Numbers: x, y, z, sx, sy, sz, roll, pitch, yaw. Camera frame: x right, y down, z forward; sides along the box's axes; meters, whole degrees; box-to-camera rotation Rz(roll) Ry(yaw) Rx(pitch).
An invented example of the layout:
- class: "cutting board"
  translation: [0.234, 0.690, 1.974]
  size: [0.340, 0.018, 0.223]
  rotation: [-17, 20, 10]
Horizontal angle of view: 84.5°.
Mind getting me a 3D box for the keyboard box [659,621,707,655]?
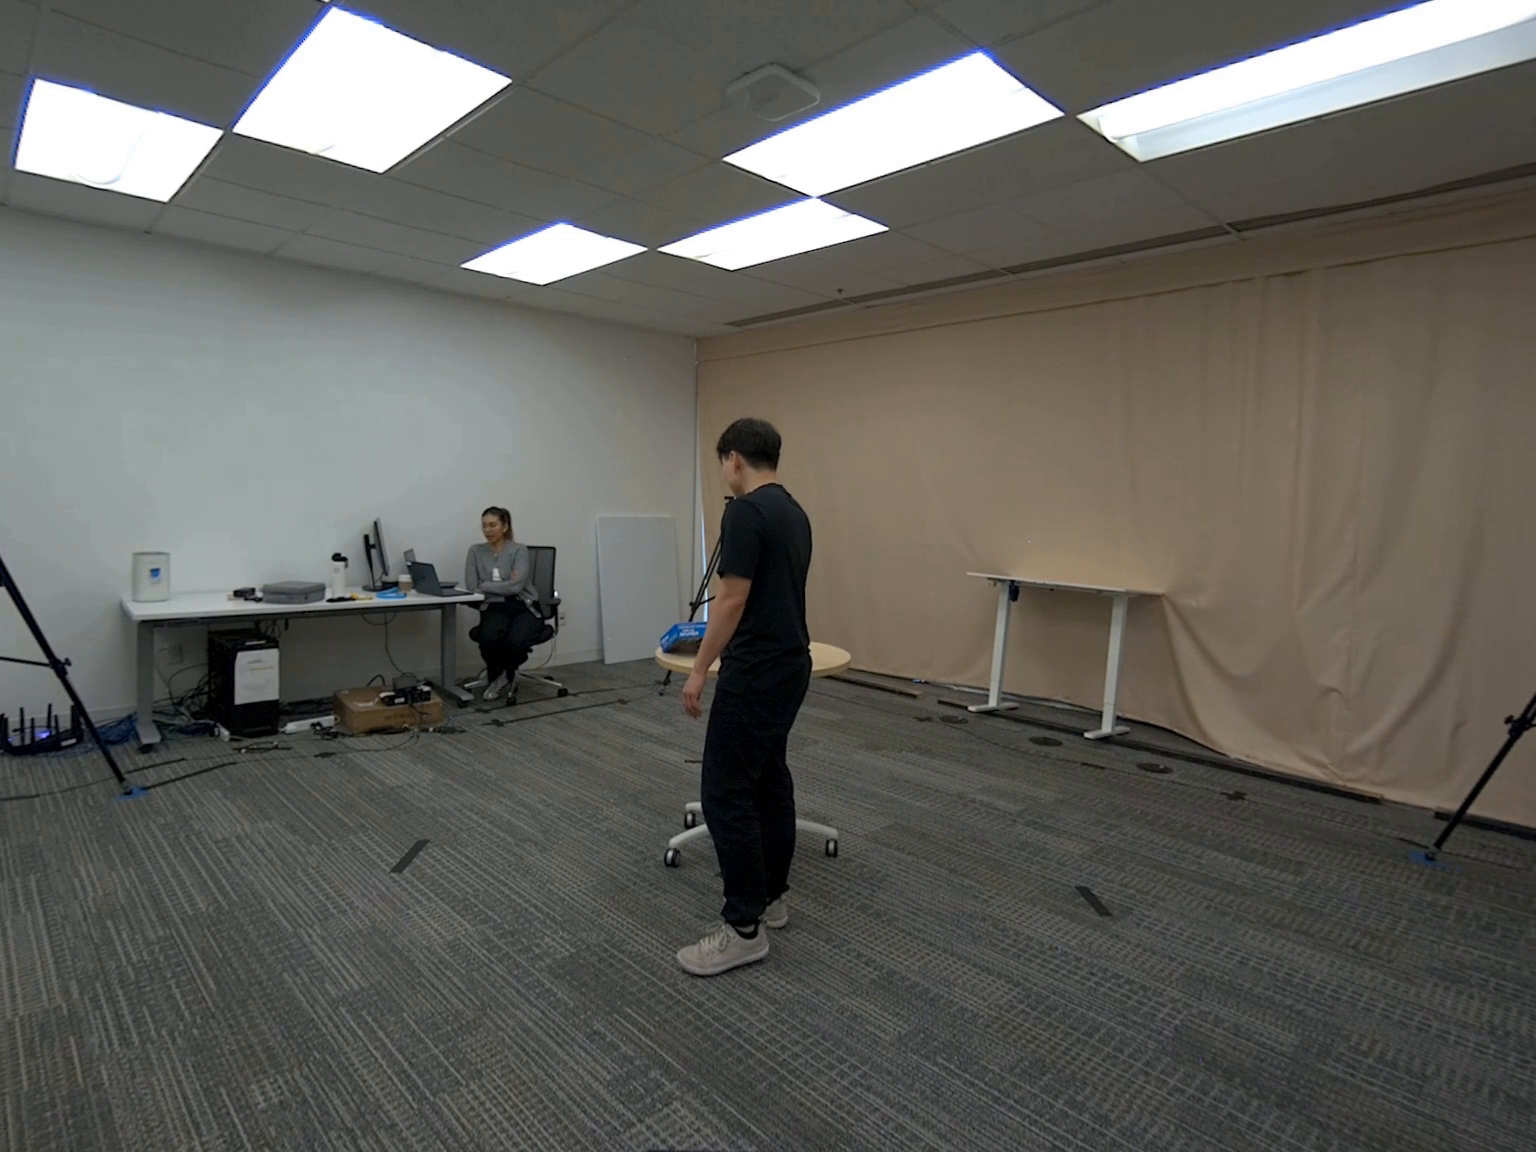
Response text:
- class: "keyboard box"
  translation: [-0.204, 0.231, 3.338]
  size: [0.428, 0.060, 0.176]
  rotation: [-1, -22, -30]
